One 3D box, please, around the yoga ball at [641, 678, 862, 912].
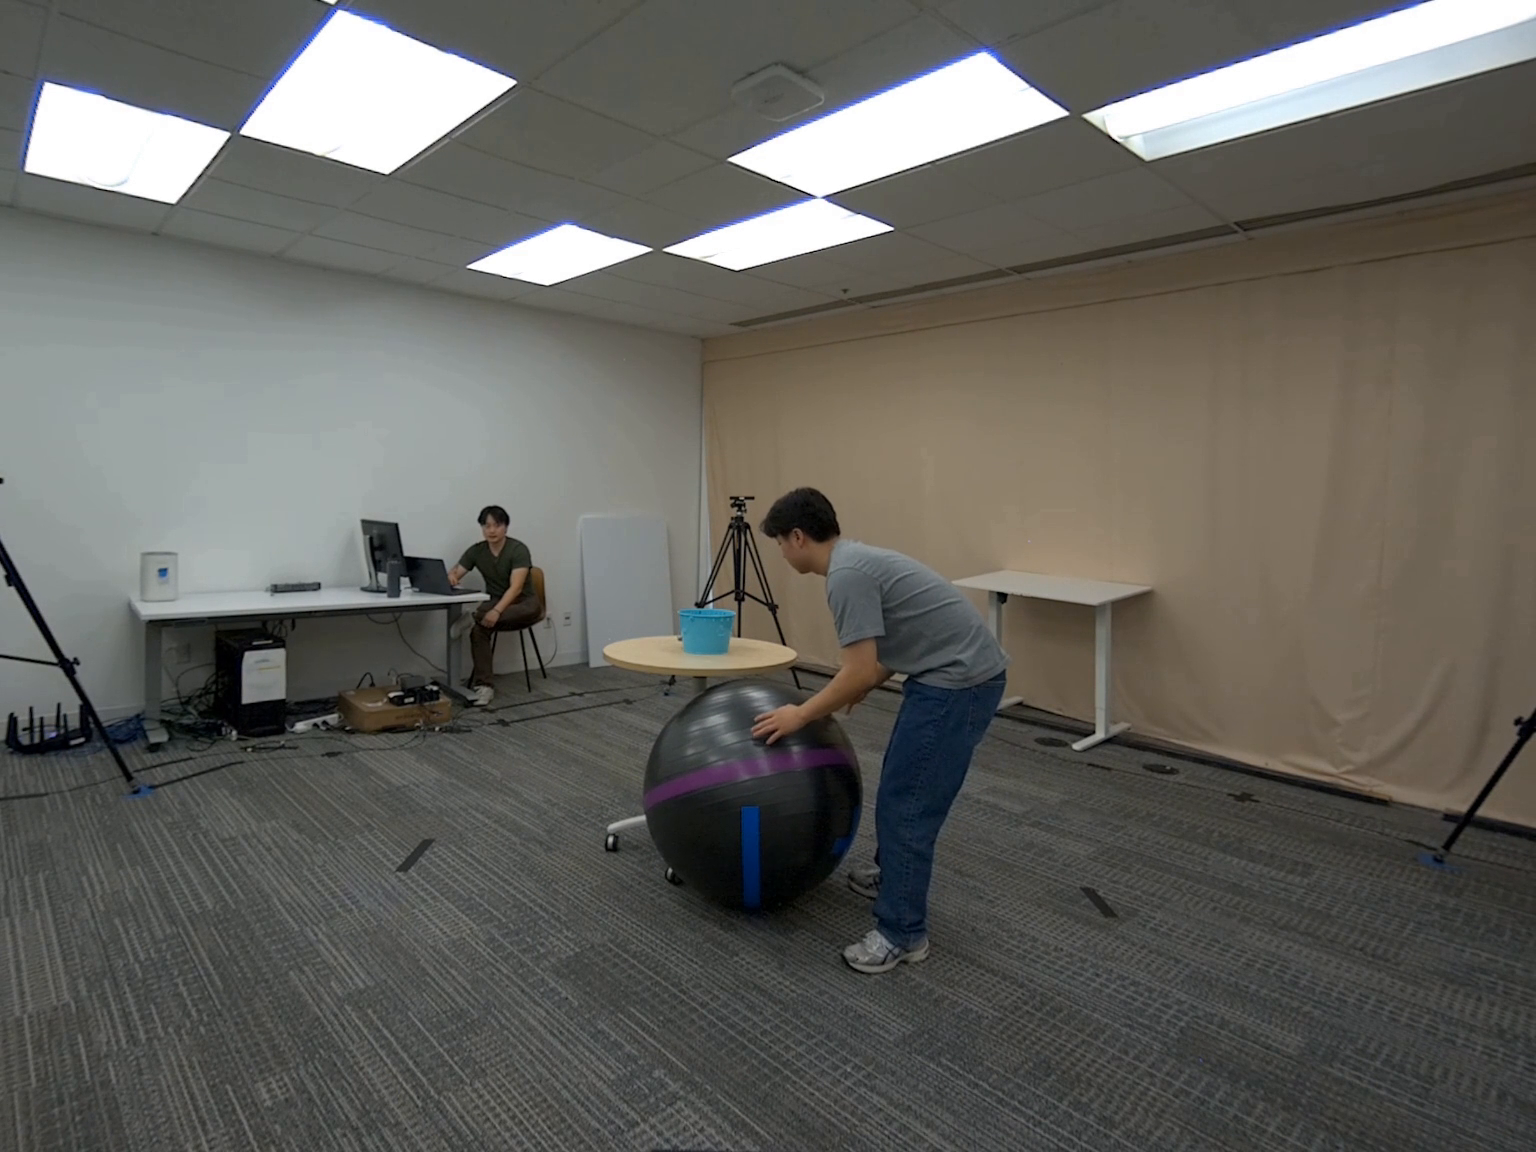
[{"bbox_3d":[-0.059,0.753,2.924,0.757,0.756,0.761,1,4,-1],"label":"yoga ball"}]
